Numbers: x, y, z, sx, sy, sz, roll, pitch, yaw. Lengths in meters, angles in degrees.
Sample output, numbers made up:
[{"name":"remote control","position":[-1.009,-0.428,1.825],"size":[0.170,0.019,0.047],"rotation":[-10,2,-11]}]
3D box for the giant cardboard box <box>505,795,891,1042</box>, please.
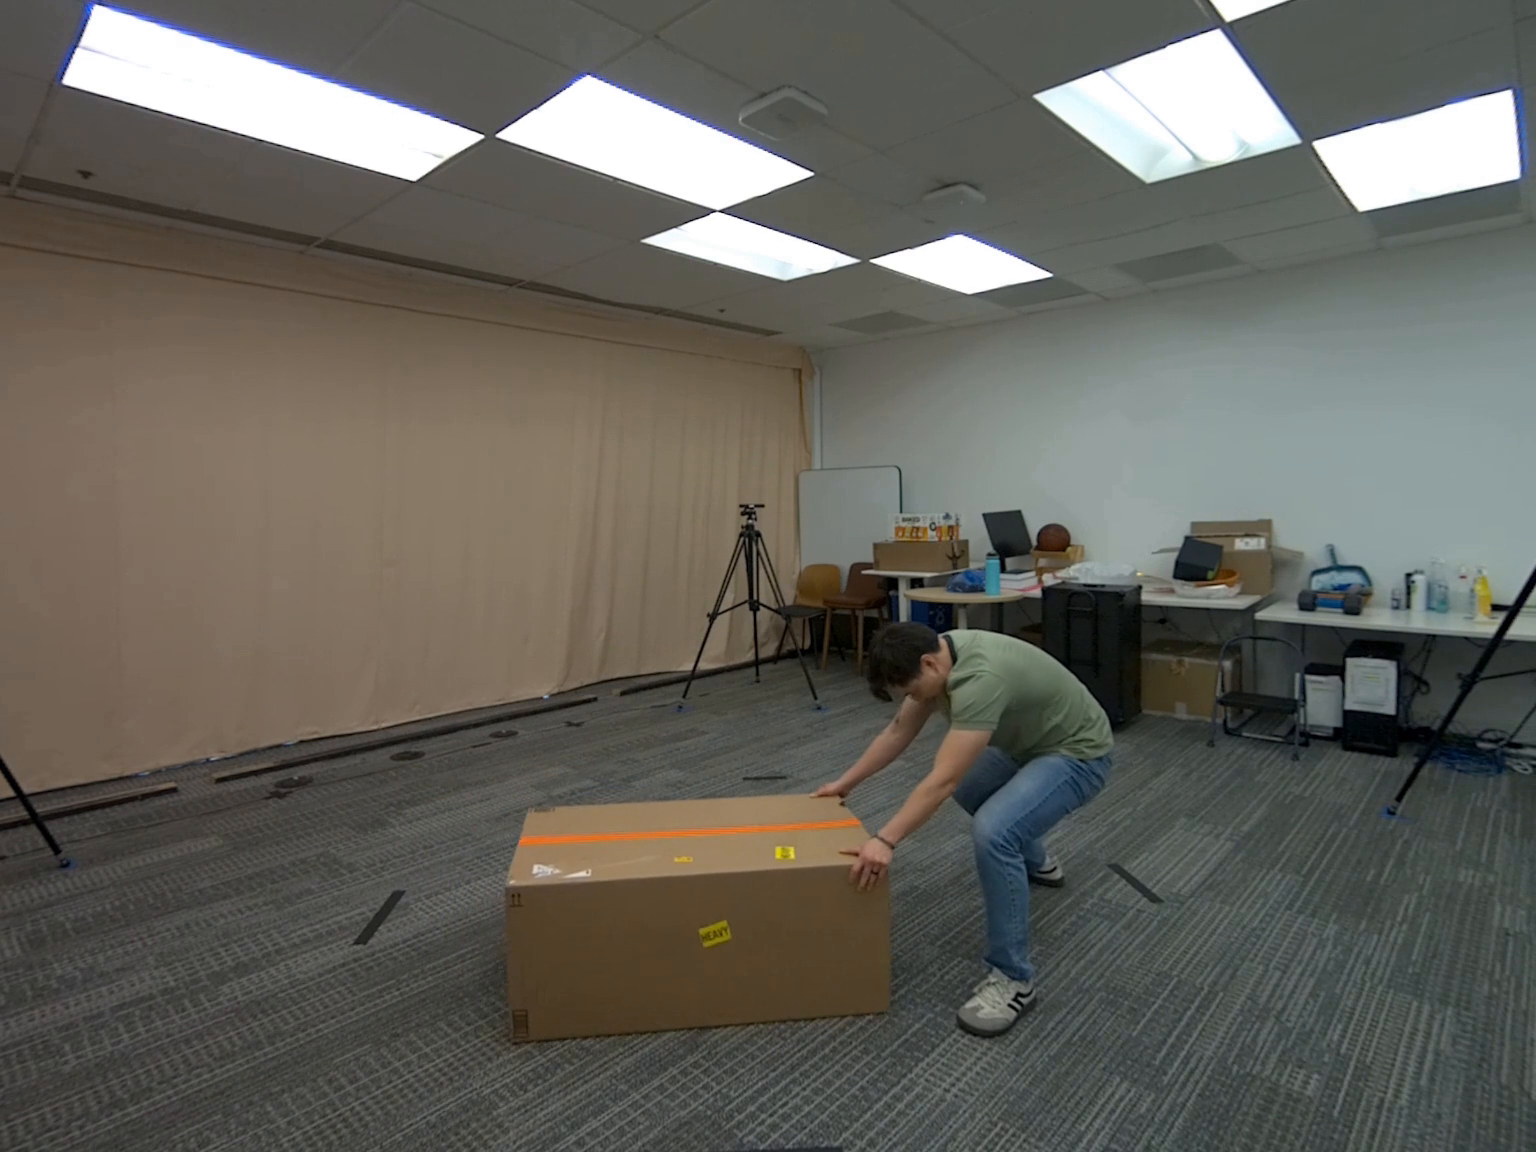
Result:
[{"name":"giant cardboard box","position":[-0.220,0.974,2.516],"size":[1.019,0.425,0.583],"rotation":[-1,5,-7]}]
